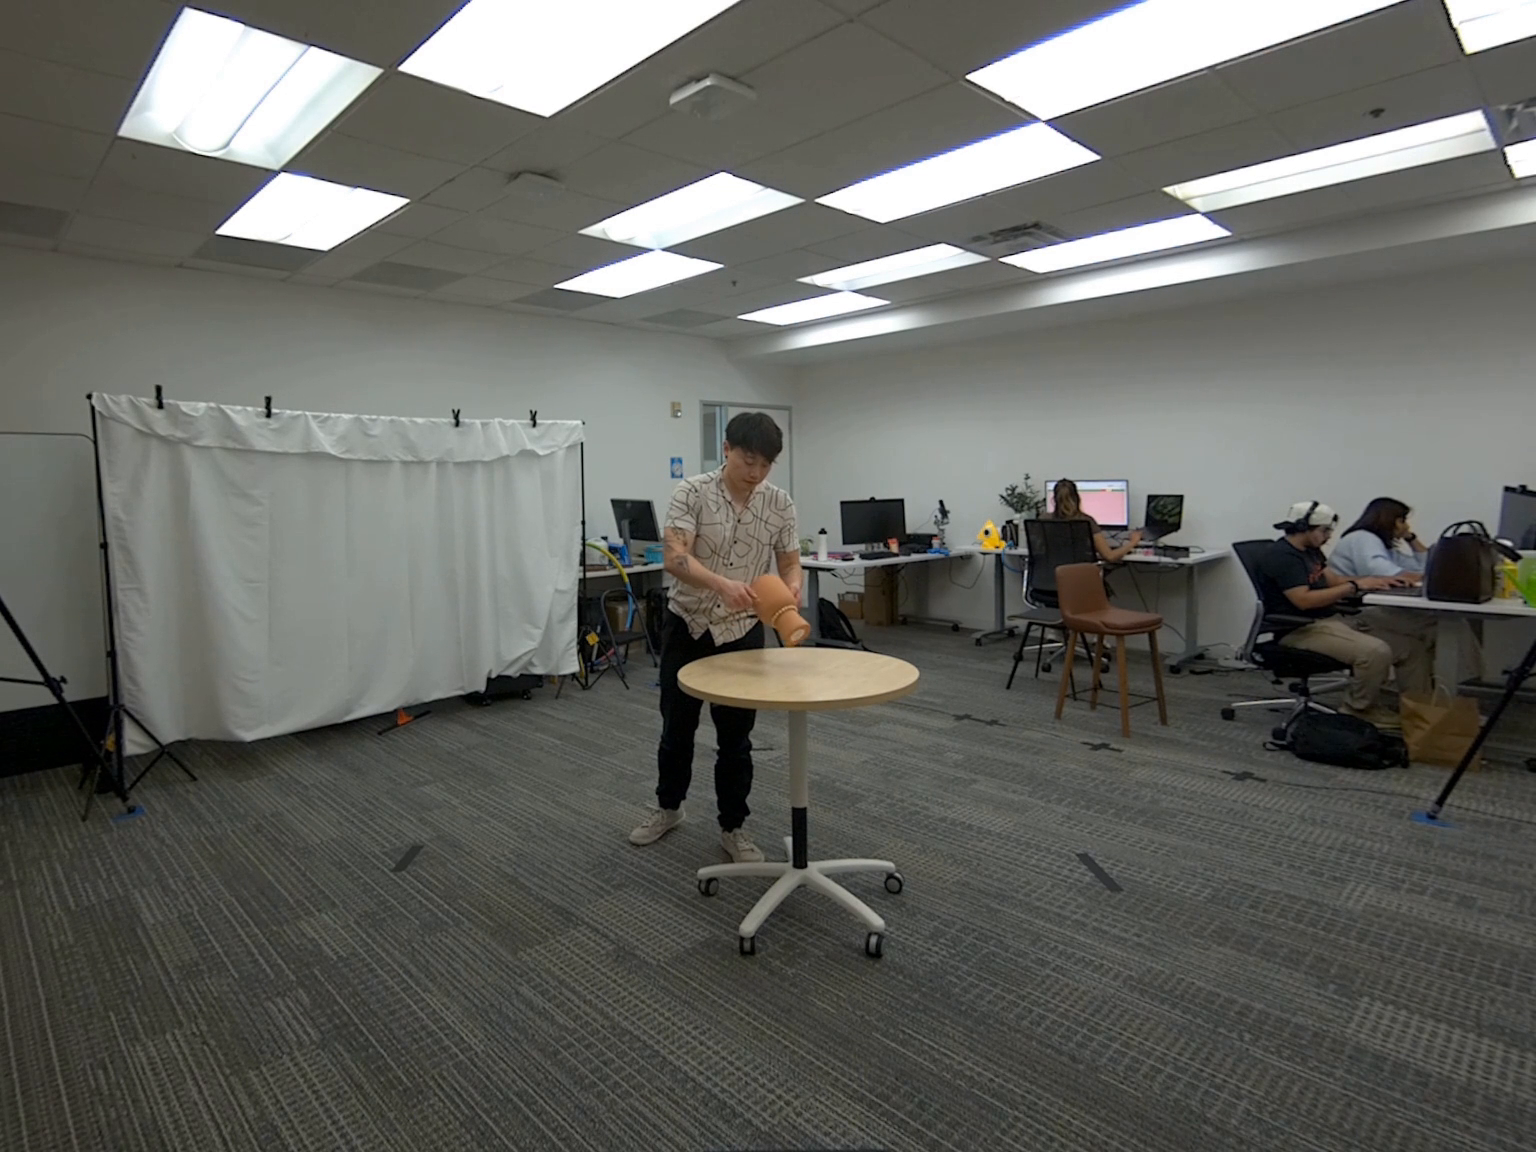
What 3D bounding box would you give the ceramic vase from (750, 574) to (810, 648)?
[{"bbox_3d":[0.040,0.115,2.746,0.157,0.131,0.228,-23,55,-17],"label":"ceramic vase"}]
